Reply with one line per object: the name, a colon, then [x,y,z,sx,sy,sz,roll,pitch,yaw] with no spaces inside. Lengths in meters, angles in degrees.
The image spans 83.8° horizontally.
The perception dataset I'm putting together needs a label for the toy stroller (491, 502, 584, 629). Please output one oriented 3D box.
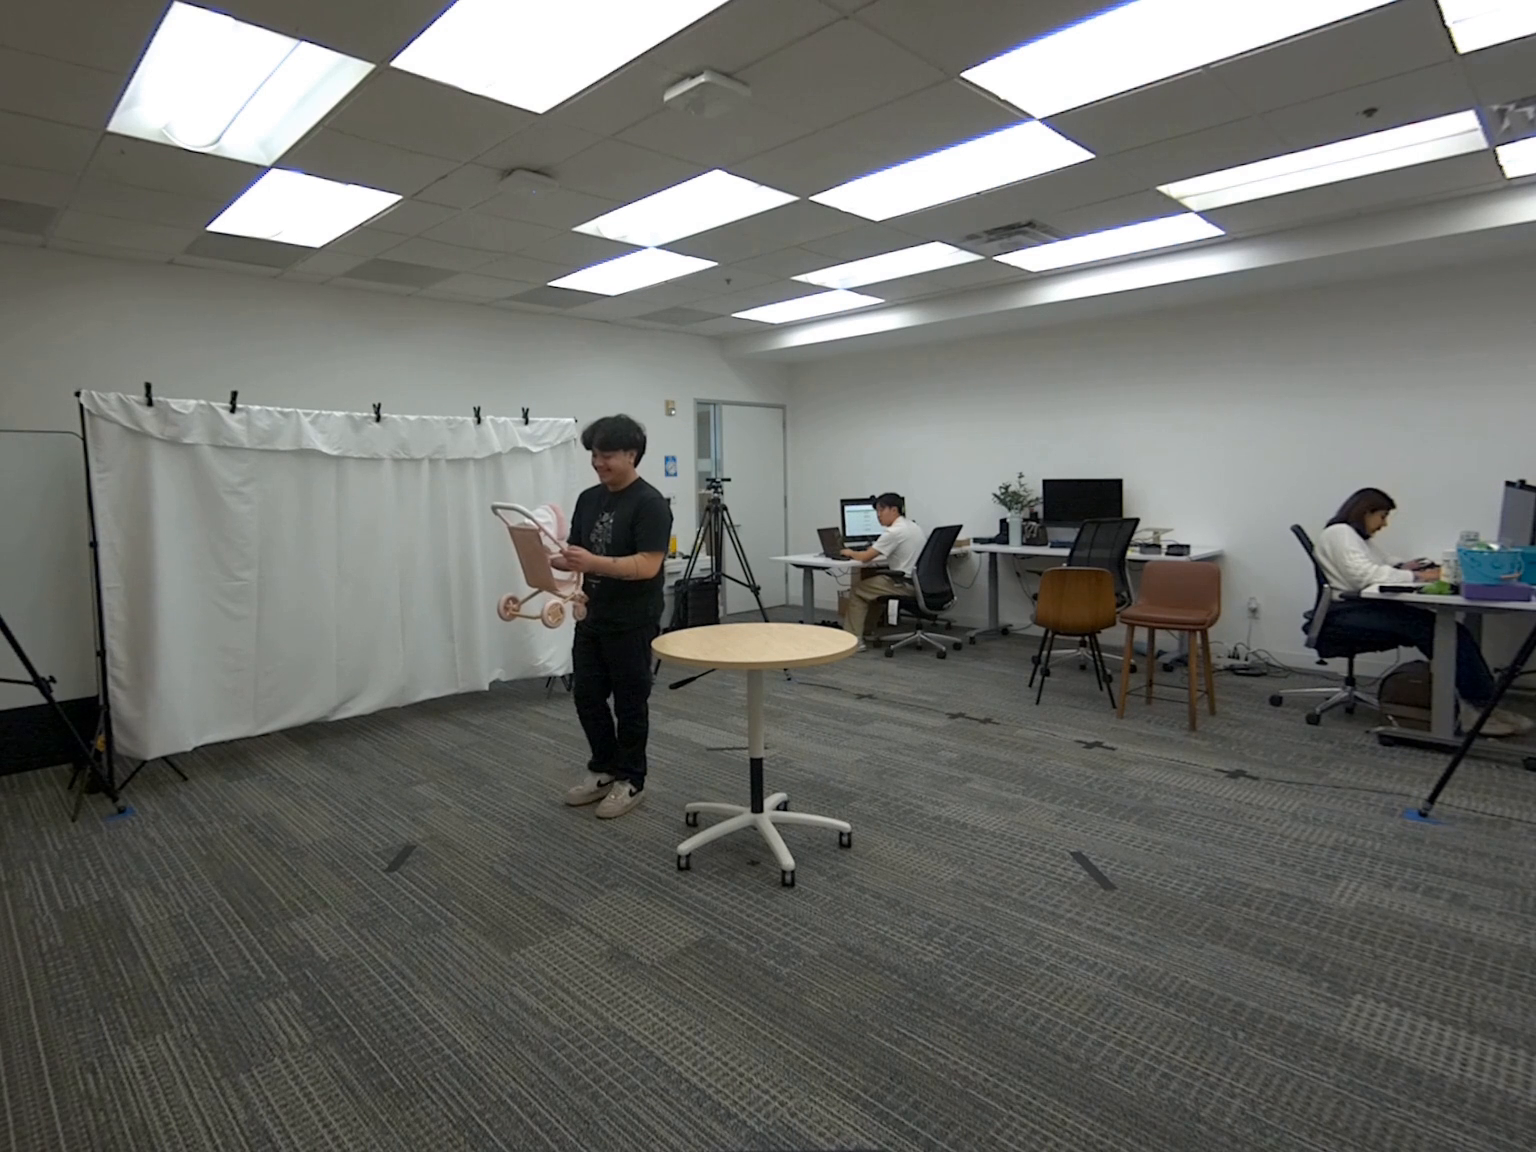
toy stroller: [-0.855,-0.043,3.294,0.290,0.529,0.335,3,14,39]
